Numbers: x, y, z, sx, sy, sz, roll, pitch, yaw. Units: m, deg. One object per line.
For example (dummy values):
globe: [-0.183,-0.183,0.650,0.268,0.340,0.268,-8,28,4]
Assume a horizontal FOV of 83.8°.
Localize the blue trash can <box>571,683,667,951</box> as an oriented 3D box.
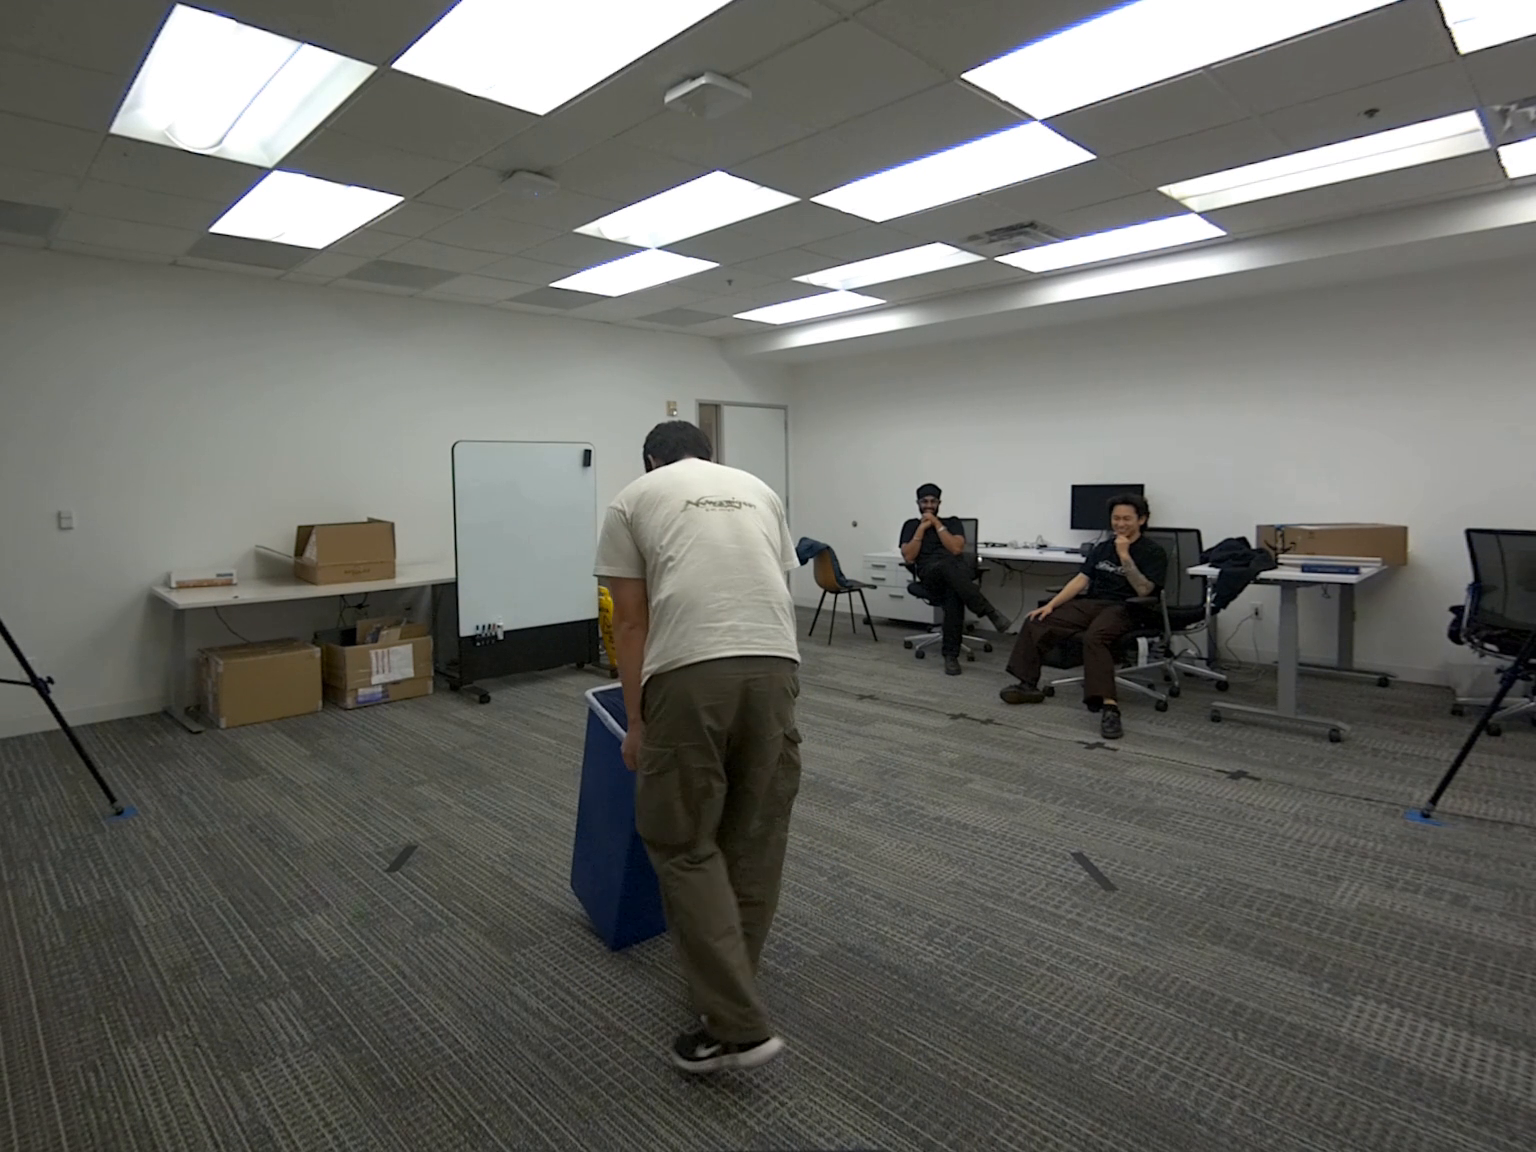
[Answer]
blue trash can: [-0.369,0.719,2.622,0.368,0.704,0.389,-4,25,-39]
